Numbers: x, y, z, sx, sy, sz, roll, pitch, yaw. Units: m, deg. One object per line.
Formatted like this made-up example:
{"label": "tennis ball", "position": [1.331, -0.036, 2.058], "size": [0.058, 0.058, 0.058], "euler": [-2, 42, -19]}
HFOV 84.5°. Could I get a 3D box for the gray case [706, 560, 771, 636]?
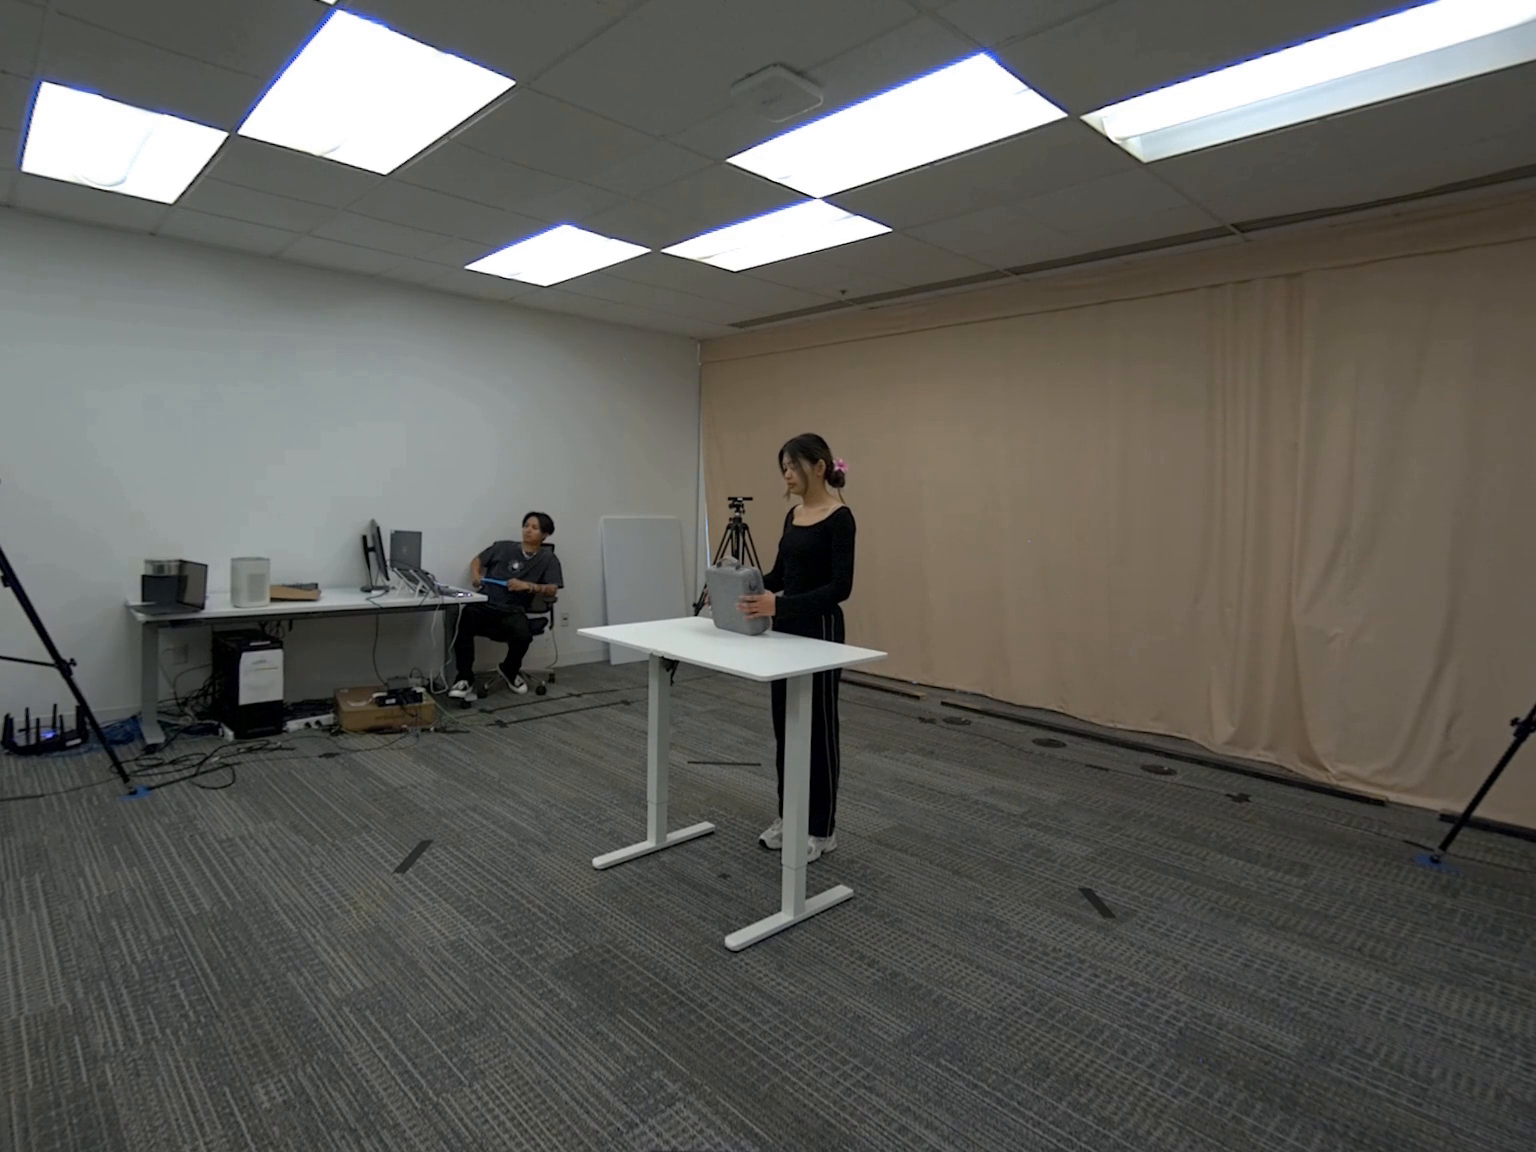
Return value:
{"label": "gray case", "position": [-0.118, 0.083, 3.209], "size": [0.103, 0.258, 0.263], "euler": [-15, 13, -32]}
